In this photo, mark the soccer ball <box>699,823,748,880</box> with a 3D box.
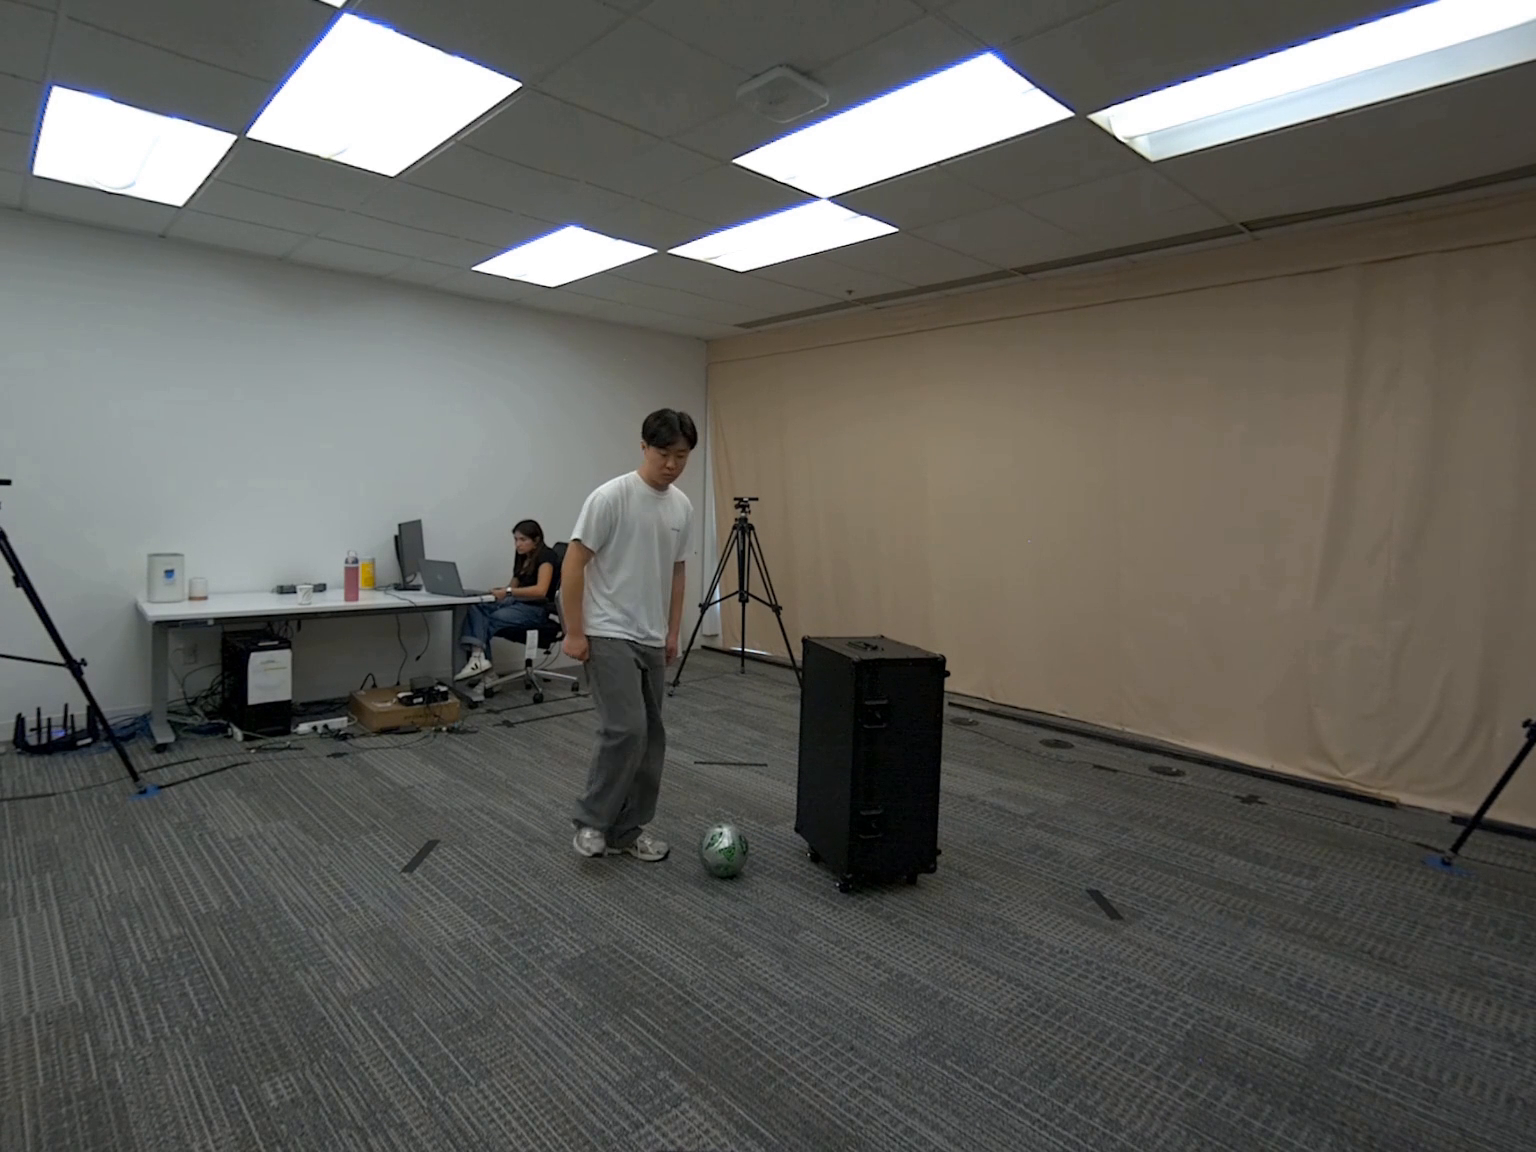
[{"bbox_3d":[-0.168,1.009,3.112,0.187,0.187,0.188,1,4,-1],"label":"soccer ball"}]
